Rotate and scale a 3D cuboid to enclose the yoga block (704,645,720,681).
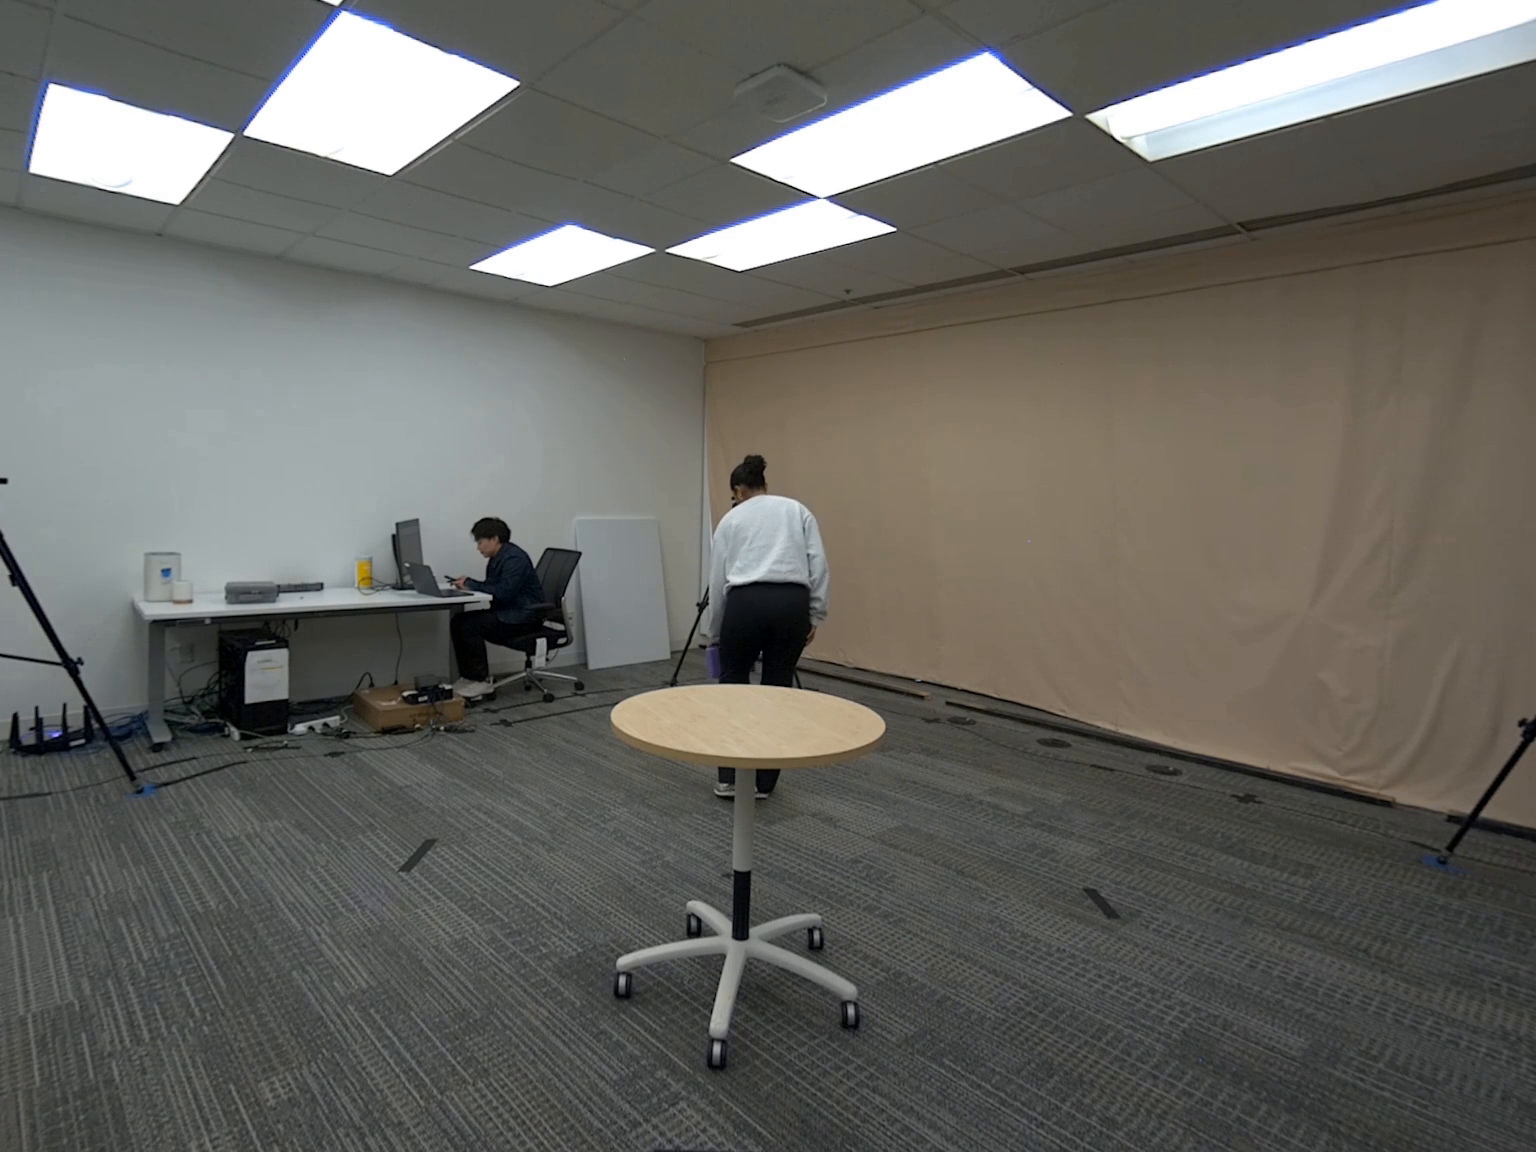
[{"bbox_3d":[-0.192,0.425,4.162,0.225,0.149,0.077,-5,-3,-24],"label":"yoga block"}]
